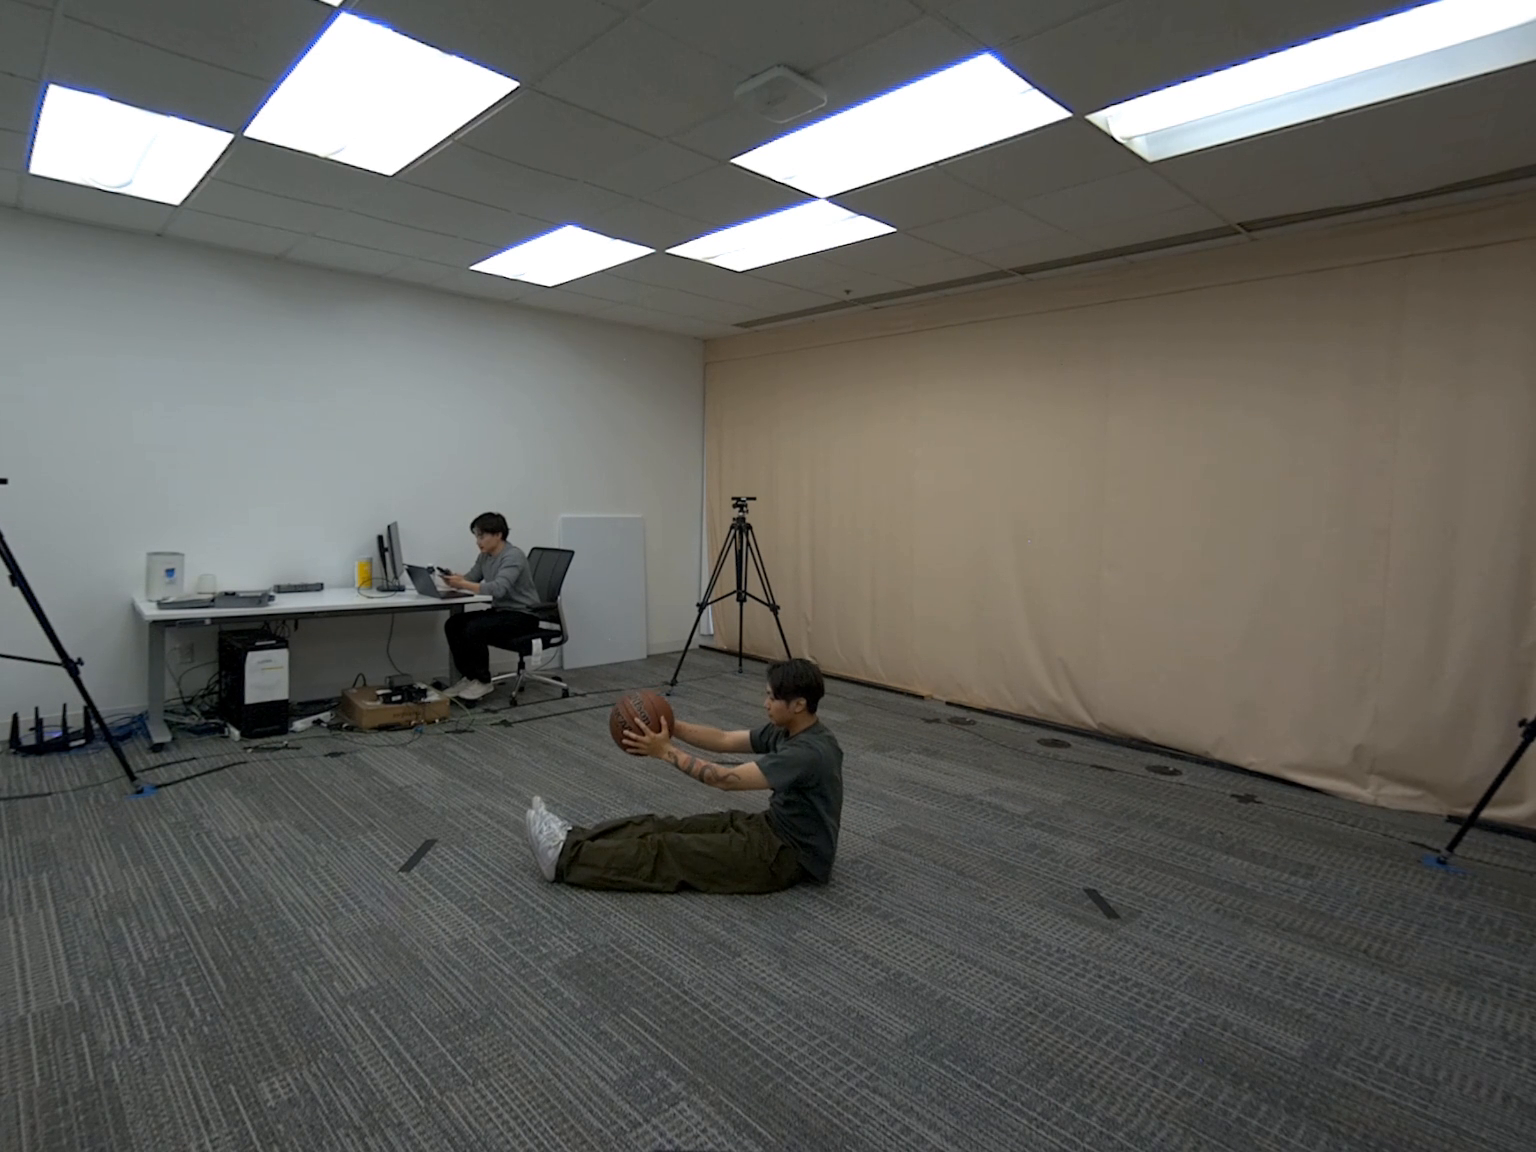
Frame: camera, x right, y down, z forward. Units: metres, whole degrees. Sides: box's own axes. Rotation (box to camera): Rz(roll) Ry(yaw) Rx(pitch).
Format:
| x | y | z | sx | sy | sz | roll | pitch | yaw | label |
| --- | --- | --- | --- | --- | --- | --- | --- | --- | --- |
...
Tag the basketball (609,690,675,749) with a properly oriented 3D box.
| x | y | z | sx | sy | sz | roll | pitch | yaw | label |
| --- | --- | --- | --- | --- | --- | --- | --- | --- | --- |
| -0.462 | 0.538 | 3.082 | 0.236 | 0.235 | 0.237 | 1 | 4 | -1 | basketball |
